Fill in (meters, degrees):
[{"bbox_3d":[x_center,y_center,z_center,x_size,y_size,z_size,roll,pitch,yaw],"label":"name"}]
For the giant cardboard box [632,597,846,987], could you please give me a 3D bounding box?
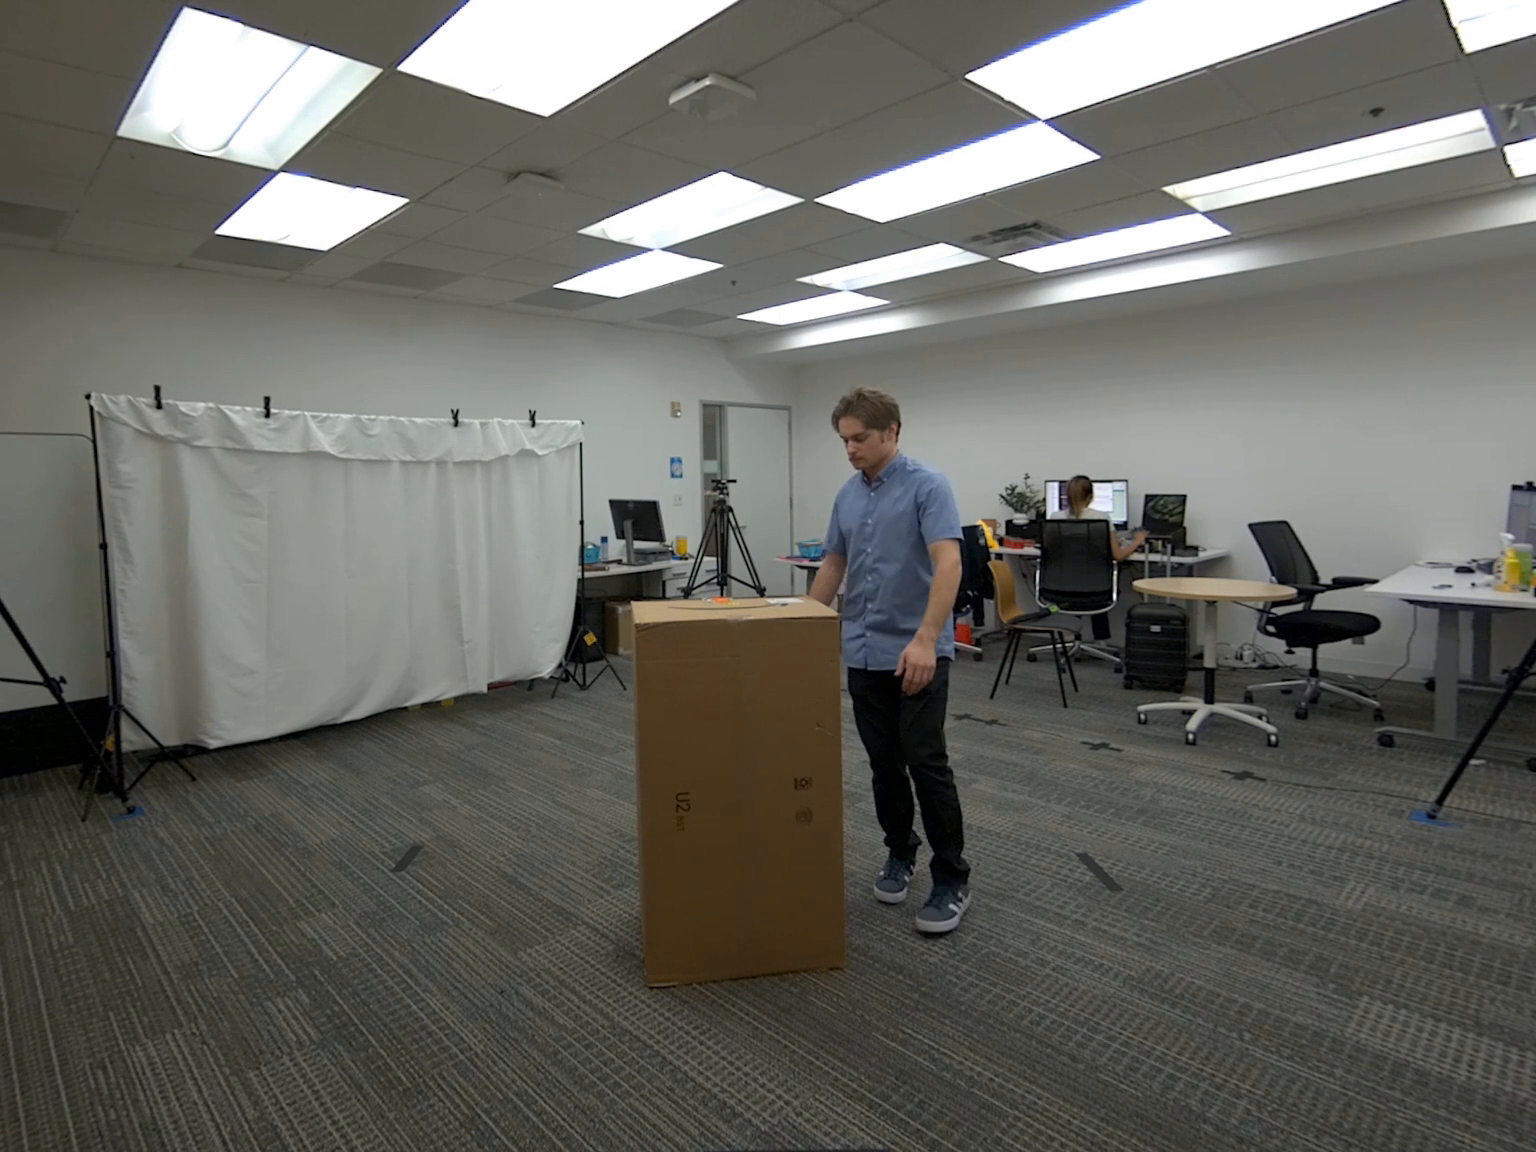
[{"bbox_3d":[-0.107,0.598,2.571,0.580,1.024,0.451,-2,4,-7],"label":"giant cardboard box"}]
